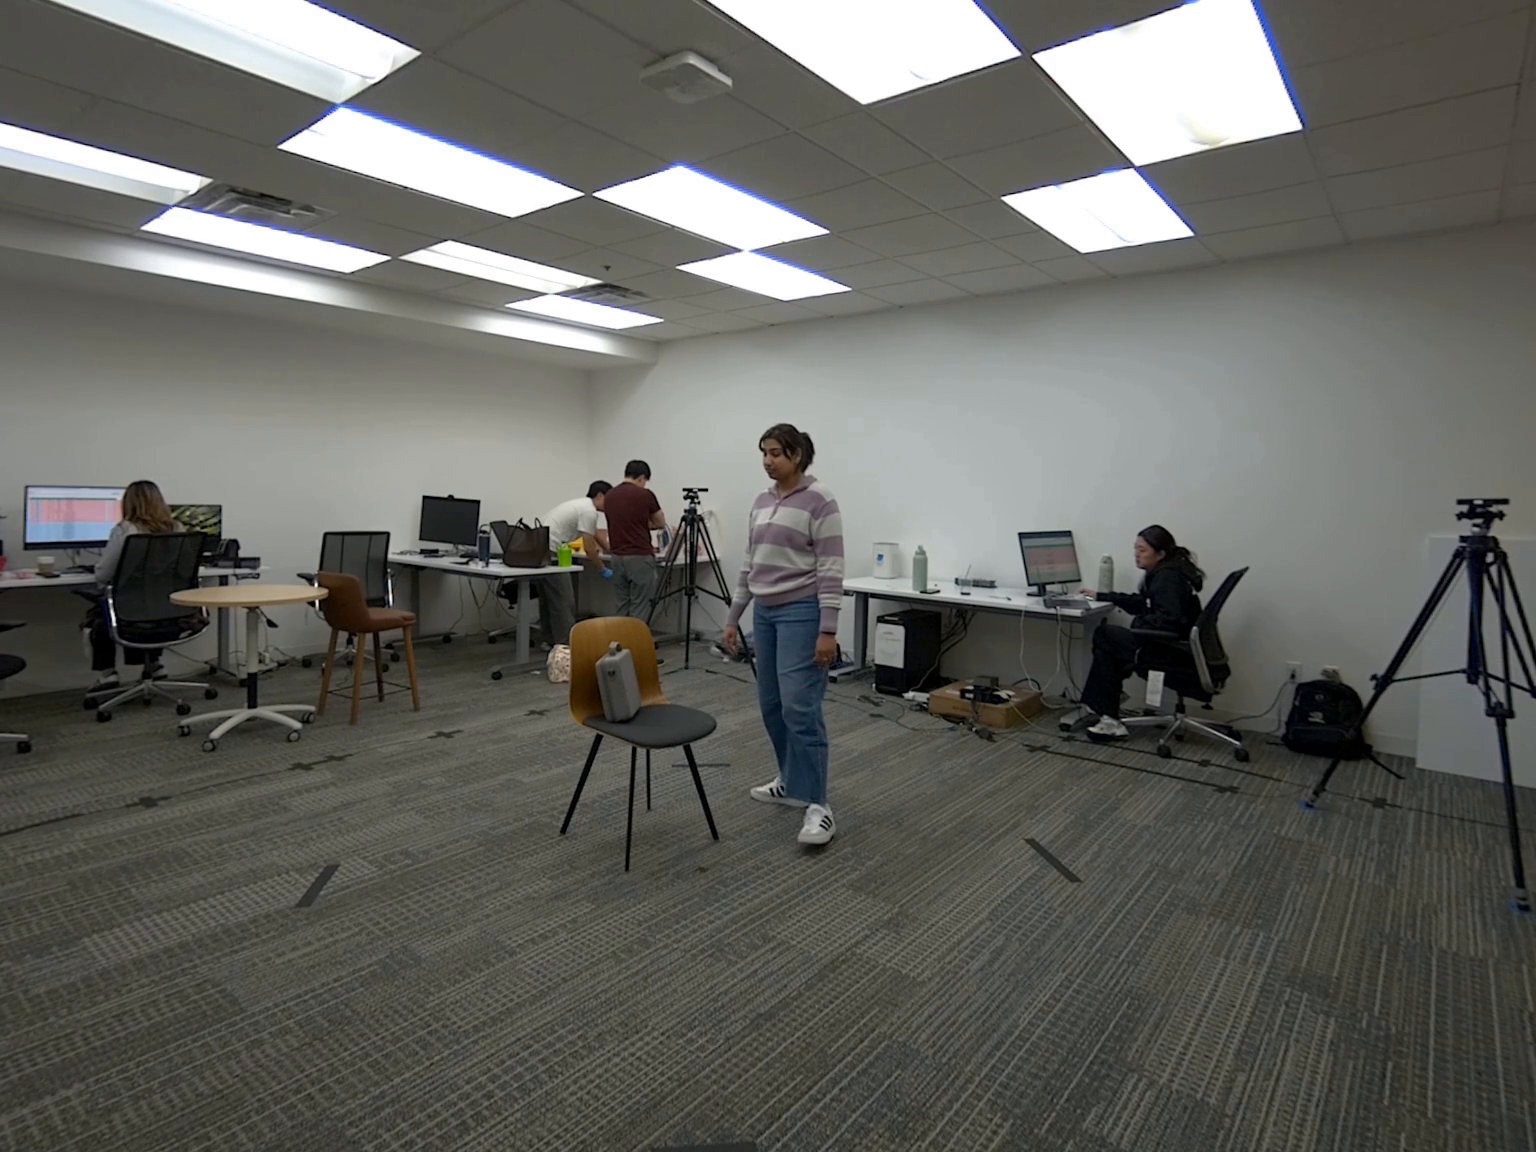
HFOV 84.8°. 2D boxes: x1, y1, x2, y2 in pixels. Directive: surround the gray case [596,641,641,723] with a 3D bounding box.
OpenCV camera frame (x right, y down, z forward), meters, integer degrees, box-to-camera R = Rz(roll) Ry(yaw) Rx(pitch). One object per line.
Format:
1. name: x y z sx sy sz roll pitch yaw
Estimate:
1. gray case: -0.589 0.424 3.404 0.105 0.260 0.255 -7 3 9
